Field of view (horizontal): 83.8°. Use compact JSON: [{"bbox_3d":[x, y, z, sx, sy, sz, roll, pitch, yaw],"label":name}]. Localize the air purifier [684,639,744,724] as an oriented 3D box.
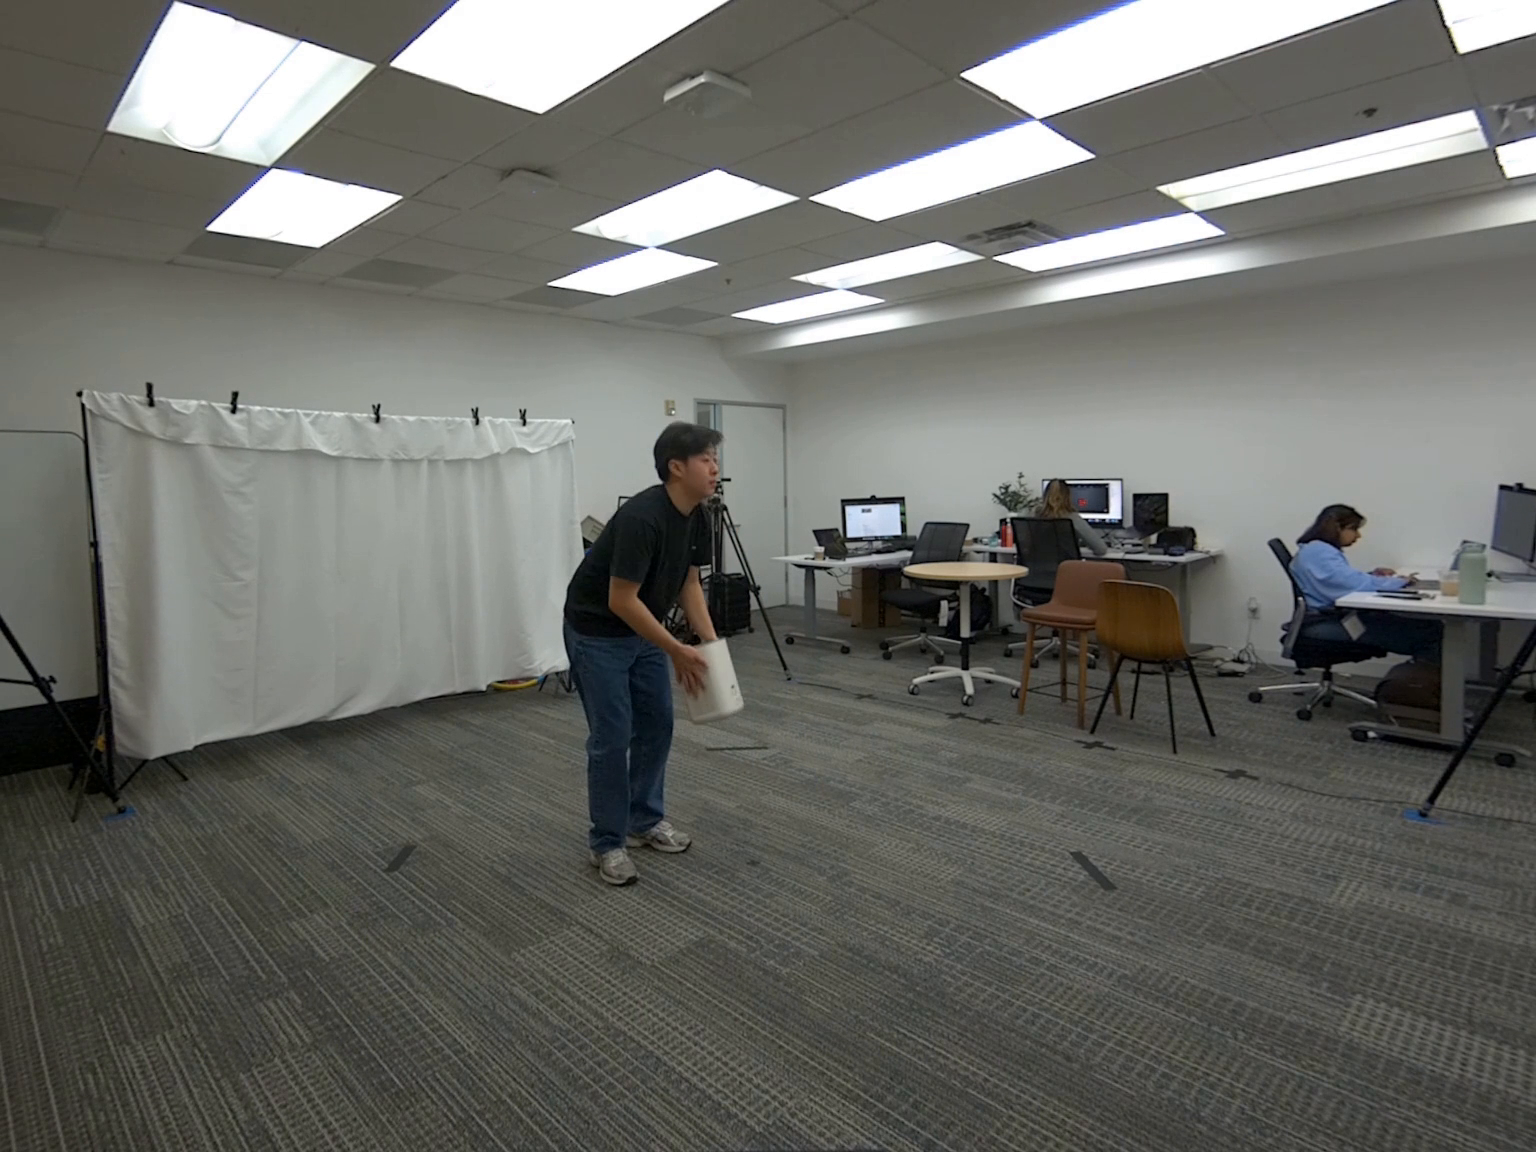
[{"bbox_3d":[-0.208,0.374,3.000,0.174,0.267,0.168,-17,-5,21],"label":"air purifier"}]
